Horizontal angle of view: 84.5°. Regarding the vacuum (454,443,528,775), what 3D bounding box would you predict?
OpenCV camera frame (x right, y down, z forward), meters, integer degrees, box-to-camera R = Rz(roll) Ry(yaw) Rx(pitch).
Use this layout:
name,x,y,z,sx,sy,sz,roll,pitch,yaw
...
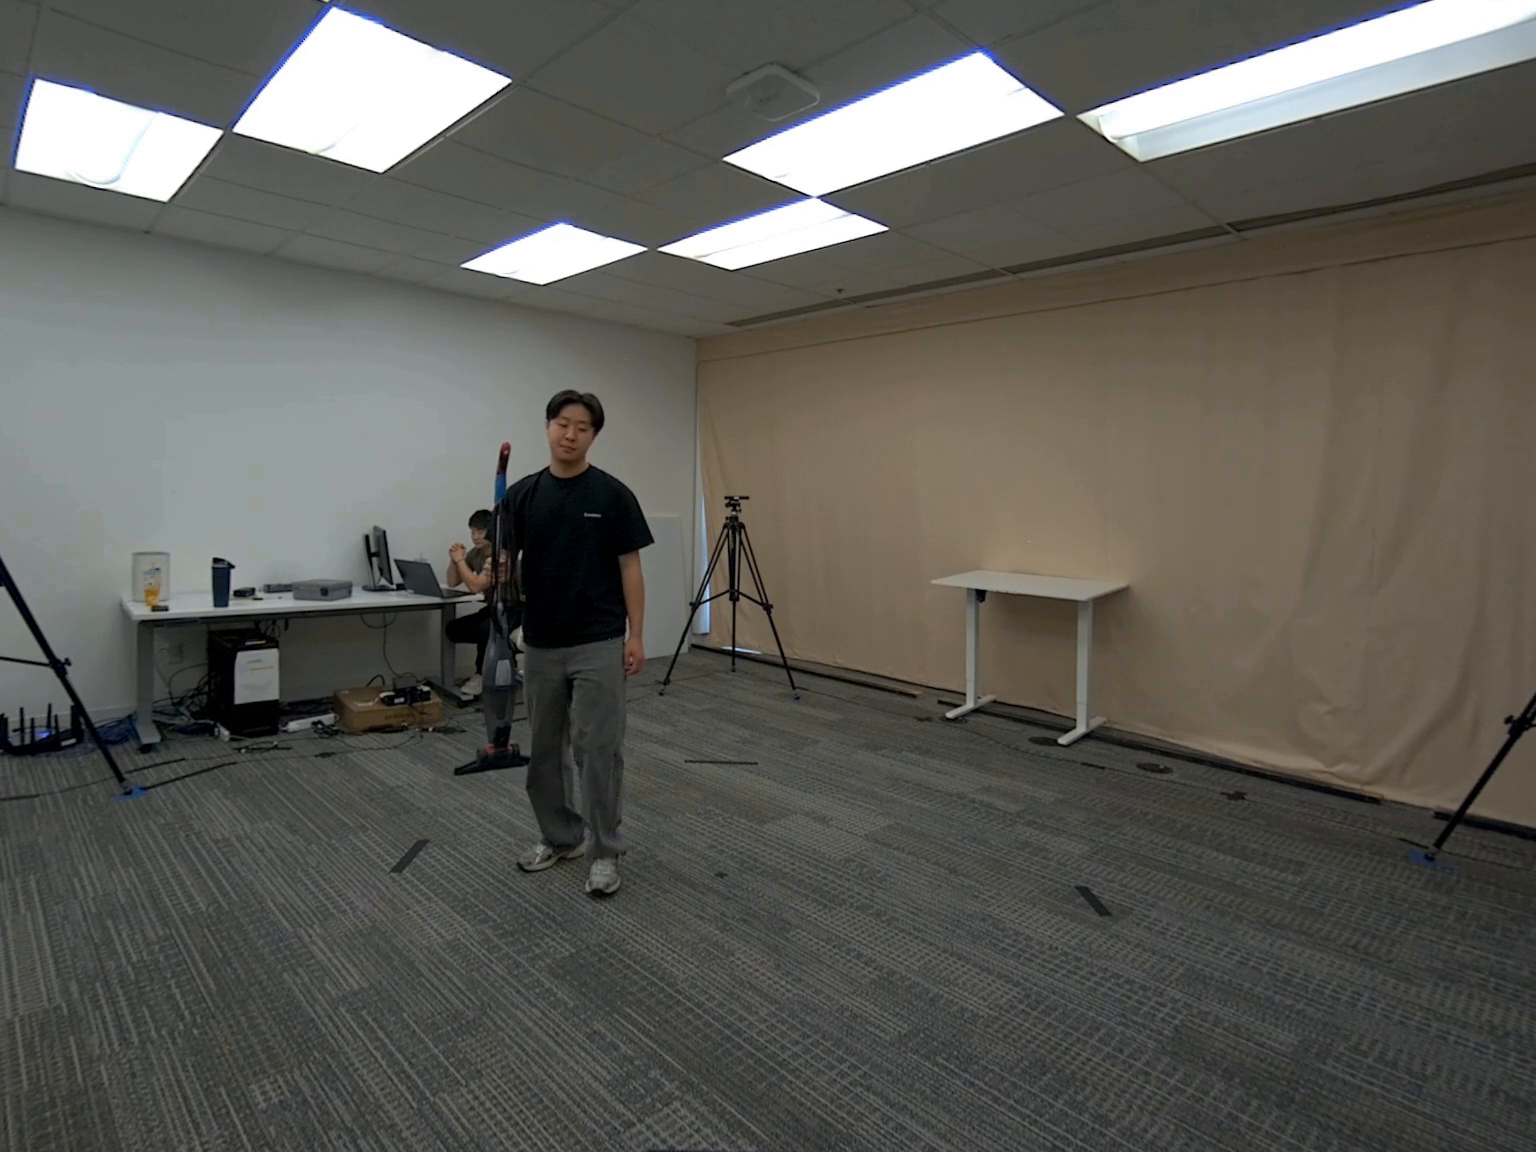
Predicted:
name,x,y,z,sx,sy,sz,roll,pitch,yaw
vacuum,-0.885,0.104,2.751,0.248,1.044,0.147,3,7,-24
